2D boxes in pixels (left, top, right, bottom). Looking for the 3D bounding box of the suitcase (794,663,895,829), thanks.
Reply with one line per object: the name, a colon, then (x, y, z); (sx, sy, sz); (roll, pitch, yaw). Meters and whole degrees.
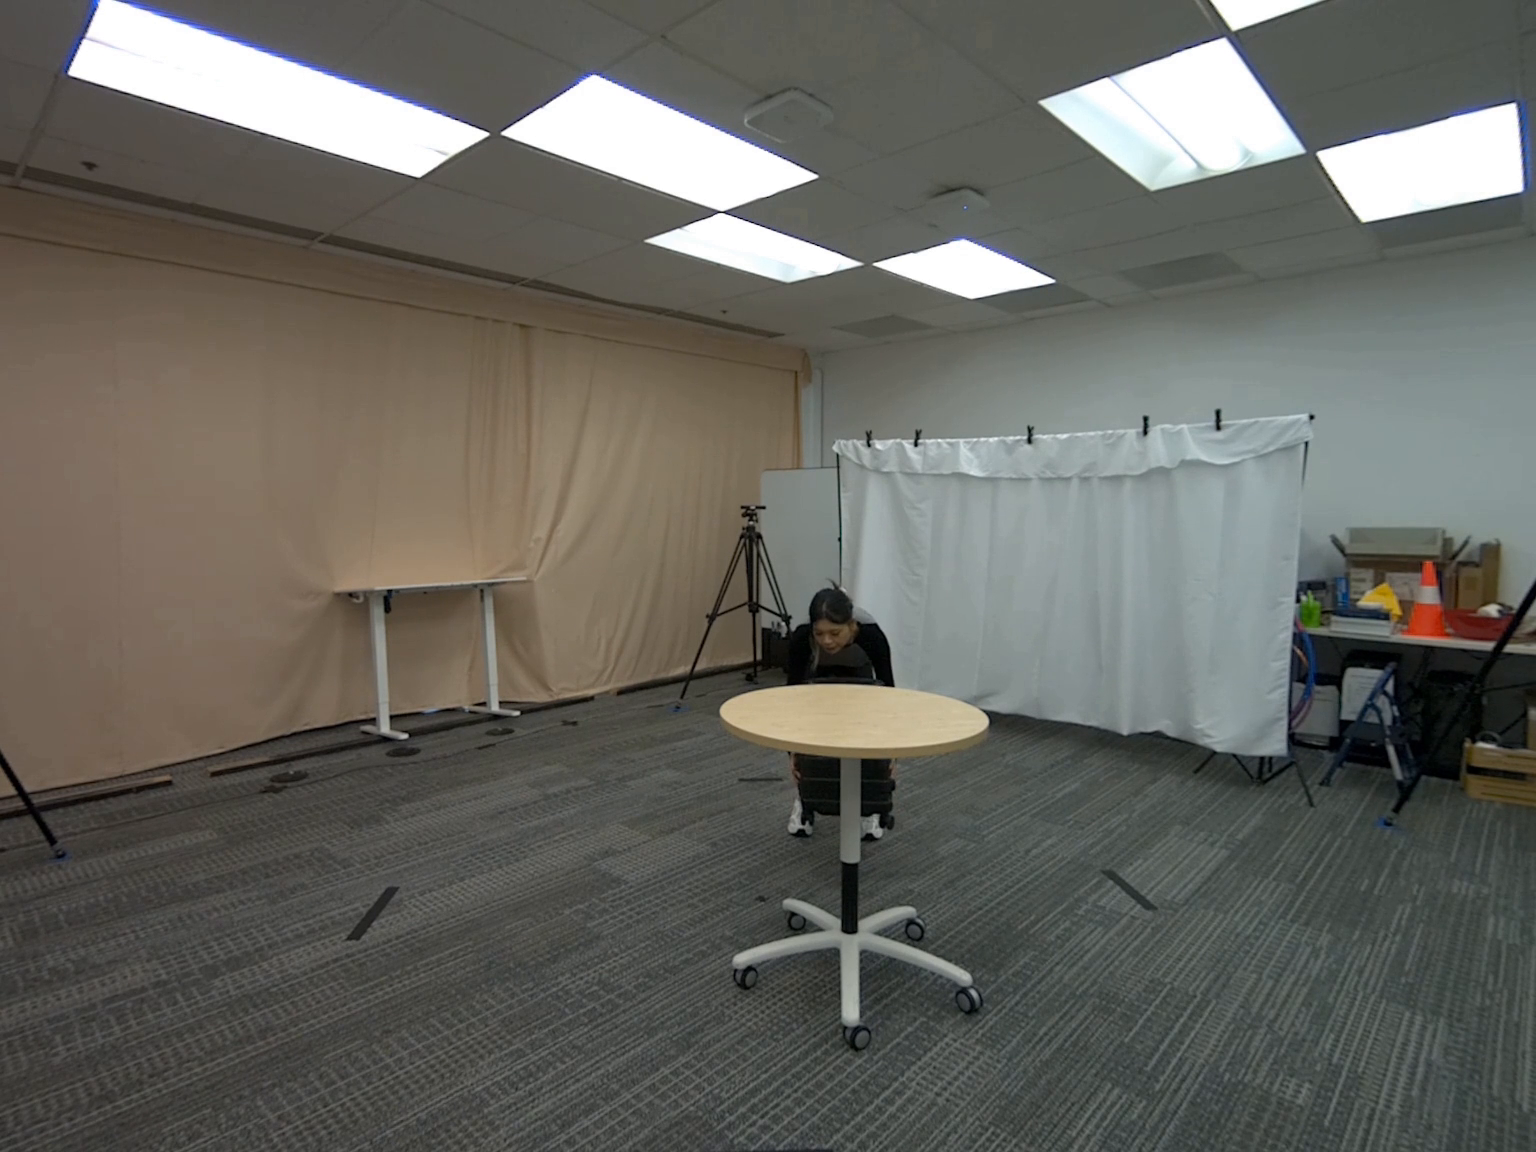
suitcase: (0.294, 0.664, 3.263); (0.379, 0.549, 0.246); (-2, 1, 8)
